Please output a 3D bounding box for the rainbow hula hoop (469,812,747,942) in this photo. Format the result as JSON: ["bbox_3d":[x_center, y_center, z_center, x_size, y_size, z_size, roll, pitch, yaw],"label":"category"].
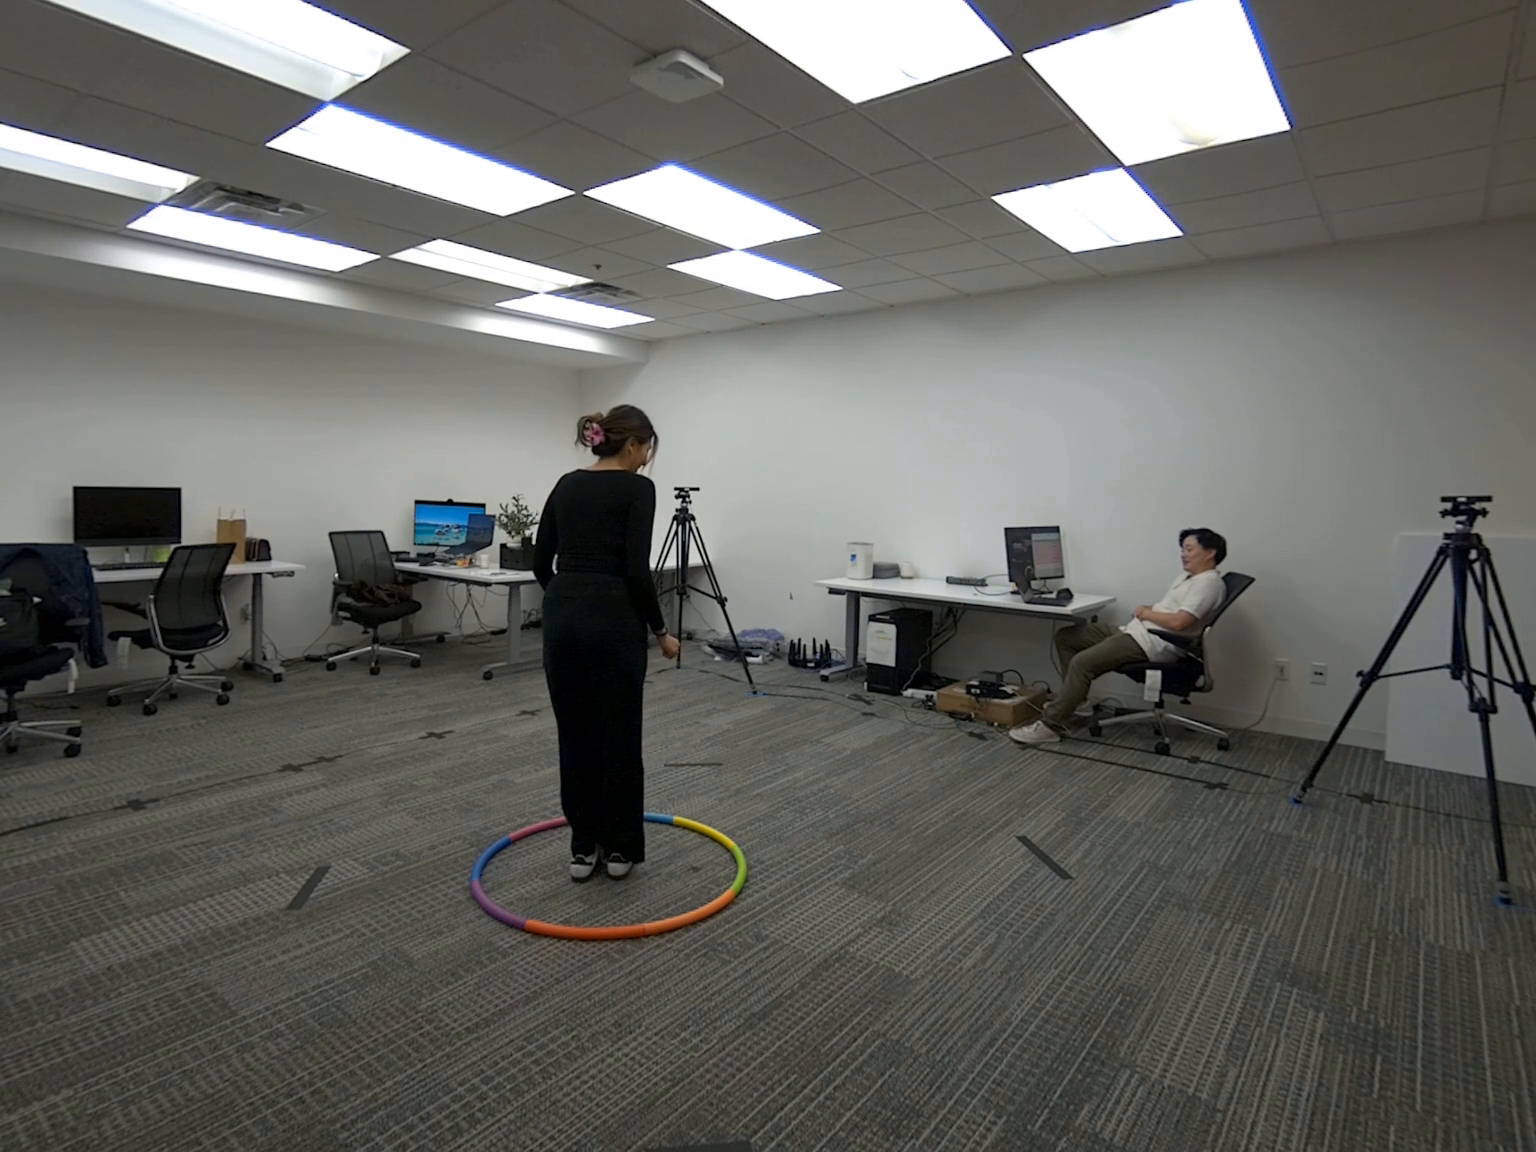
[{"bbox_3d":[-0.573,1.036,3.083,0.978,0.035,0.984,1,5,-2],"label":"rainbow hula hoop"}]
